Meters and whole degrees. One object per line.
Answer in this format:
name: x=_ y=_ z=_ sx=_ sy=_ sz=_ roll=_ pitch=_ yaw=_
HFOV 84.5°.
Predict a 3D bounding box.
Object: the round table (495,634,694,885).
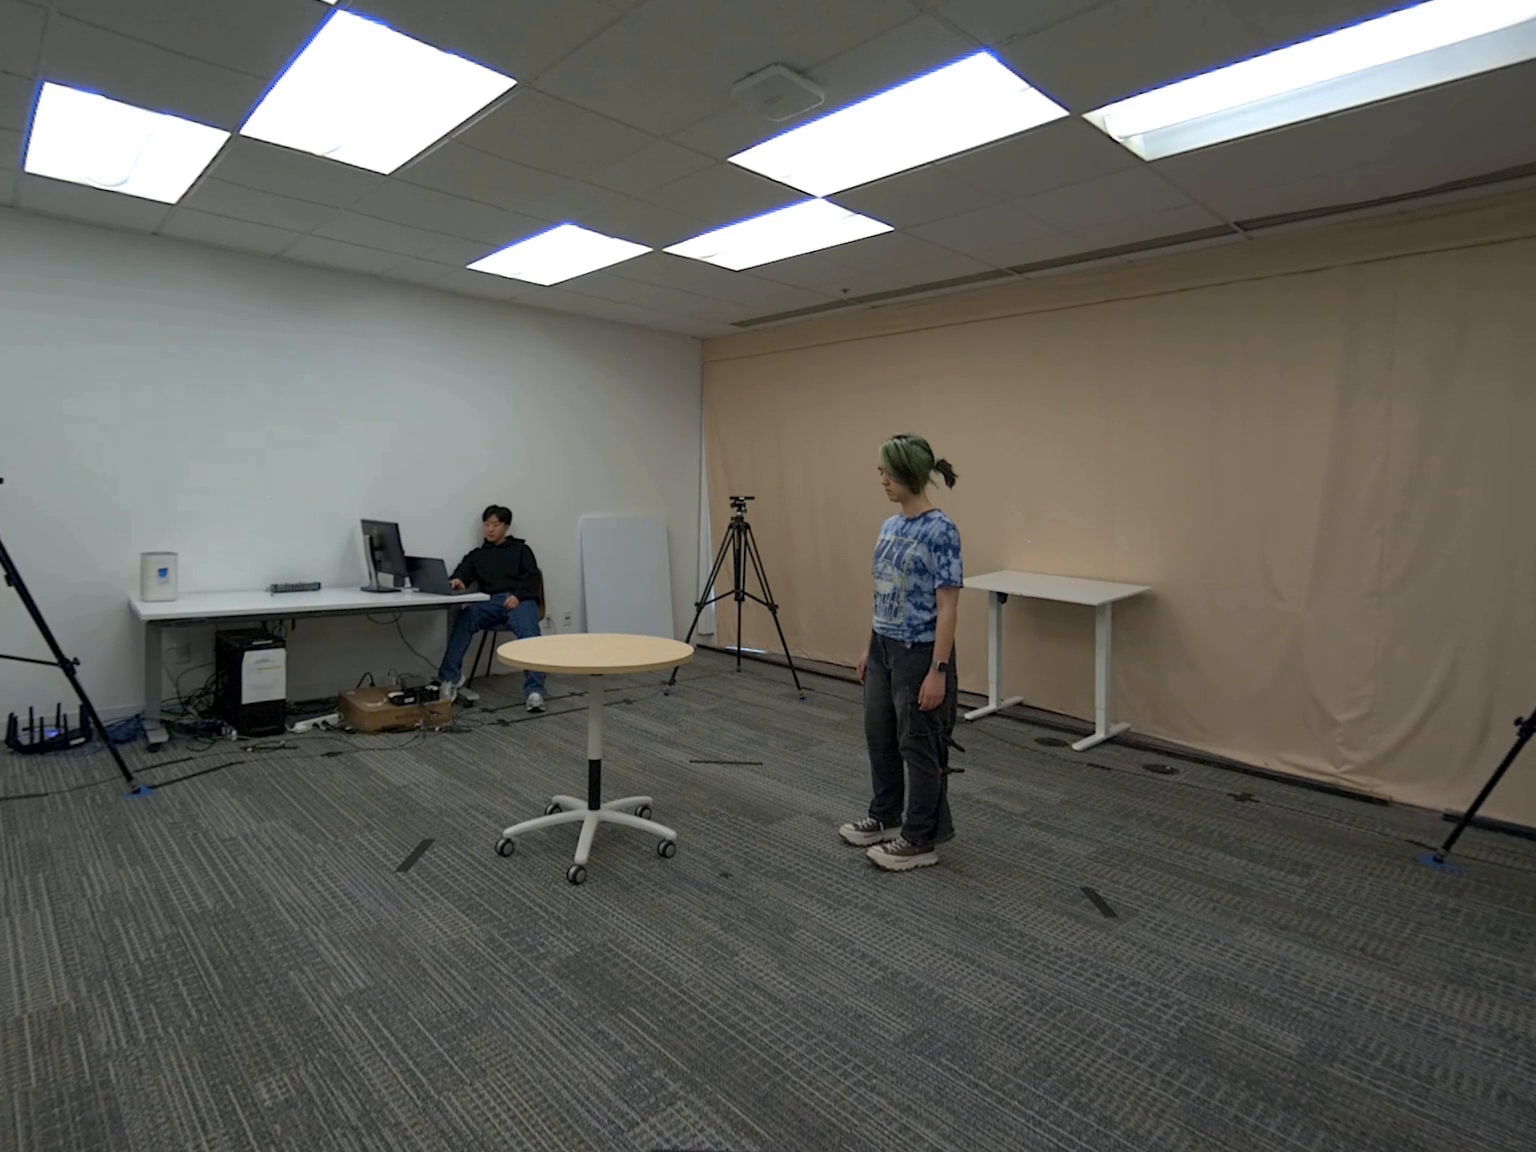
round table: x=-0.681 y=0.674 z=3.352 sx=0.784 sy=0.784 sz=0.788 roll=2 pitch=4 yaw=-1
